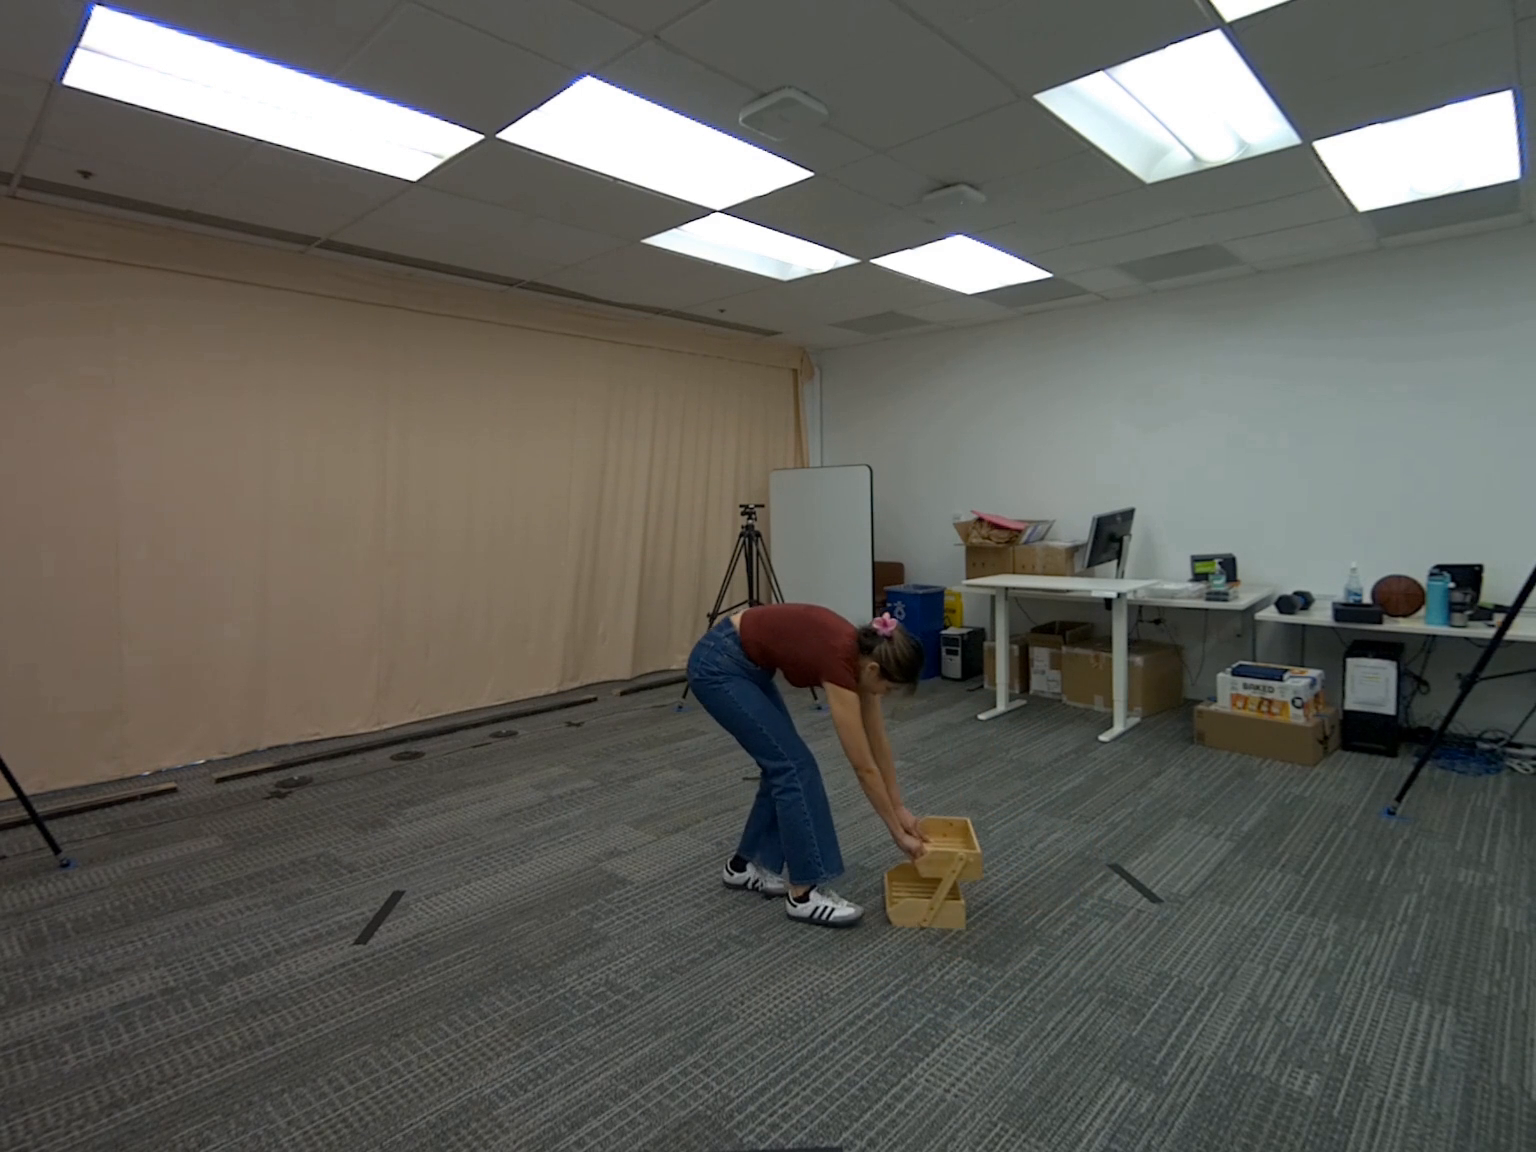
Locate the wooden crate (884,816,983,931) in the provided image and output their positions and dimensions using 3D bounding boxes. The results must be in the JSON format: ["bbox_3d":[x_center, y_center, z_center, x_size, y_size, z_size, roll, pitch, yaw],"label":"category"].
[{"bbox_3d":[0.554,1.006,2.881,0.305,0.273,0.322,-1,4,7],"label":"wooden crate"}]
